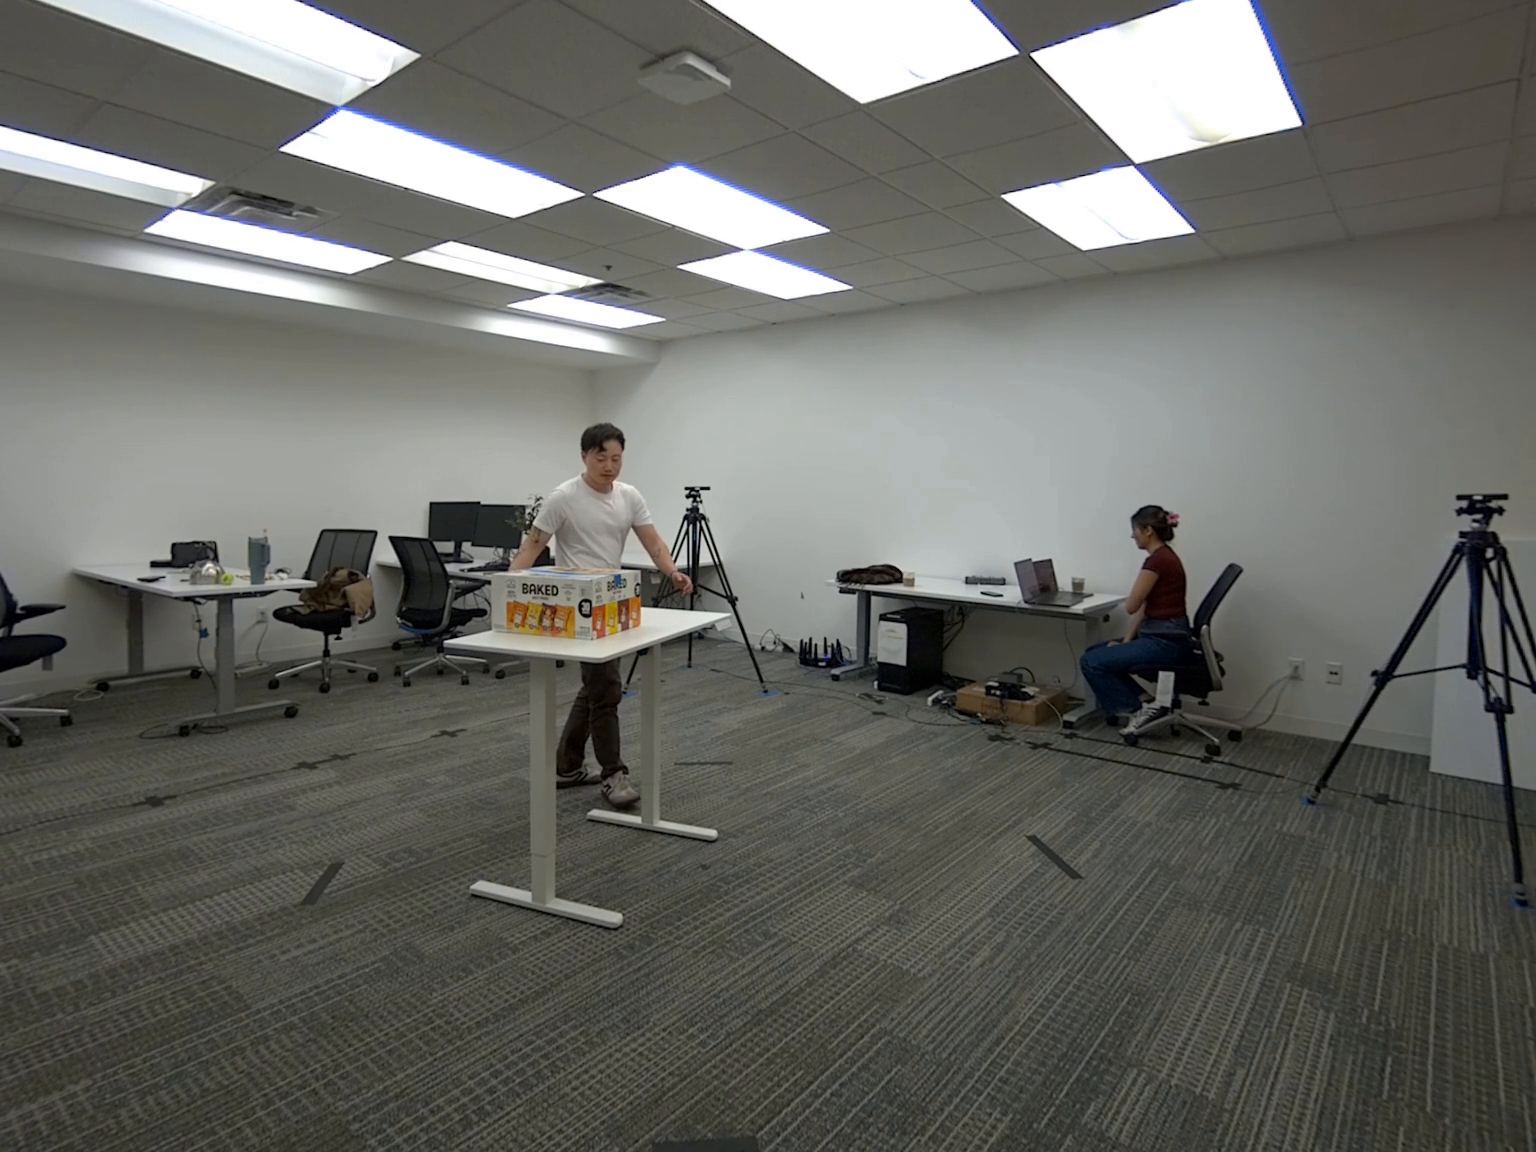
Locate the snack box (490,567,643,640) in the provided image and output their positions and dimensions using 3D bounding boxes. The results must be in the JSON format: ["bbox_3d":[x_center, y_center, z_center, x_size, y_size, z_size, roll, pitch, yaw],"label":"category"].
[{"bbox_3d":[-0.723,0.086,3.028,0.414,0.205,0.334,2,5,21],"label":"snack box"}]
